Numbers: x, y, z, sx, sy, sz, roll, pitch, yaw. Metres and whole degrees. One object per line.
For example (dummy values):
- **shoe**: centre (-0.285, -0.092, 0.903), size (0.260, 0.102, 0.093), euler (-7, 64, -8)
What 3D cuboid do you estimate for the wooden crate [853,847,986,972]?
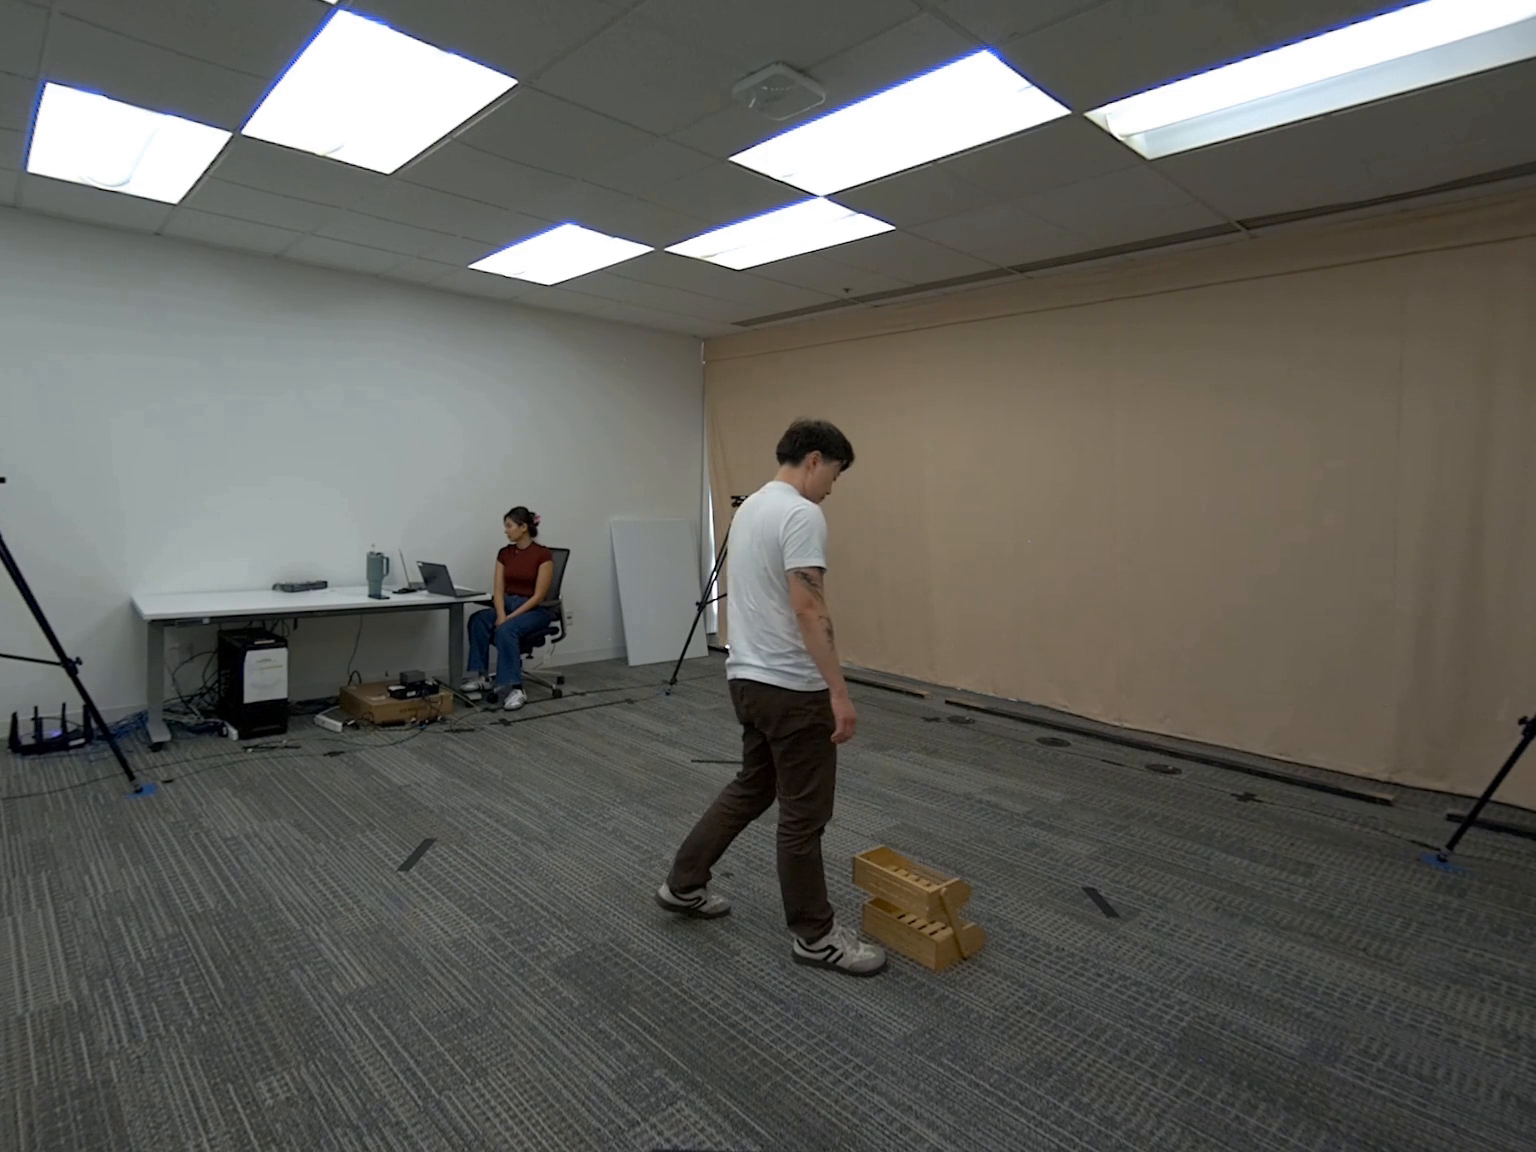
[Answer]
- **wooden crate**: centre (0.473, 1.024, 2.661), size (0.295, 0.272, 0.333), euler (-4, 6, -41)
